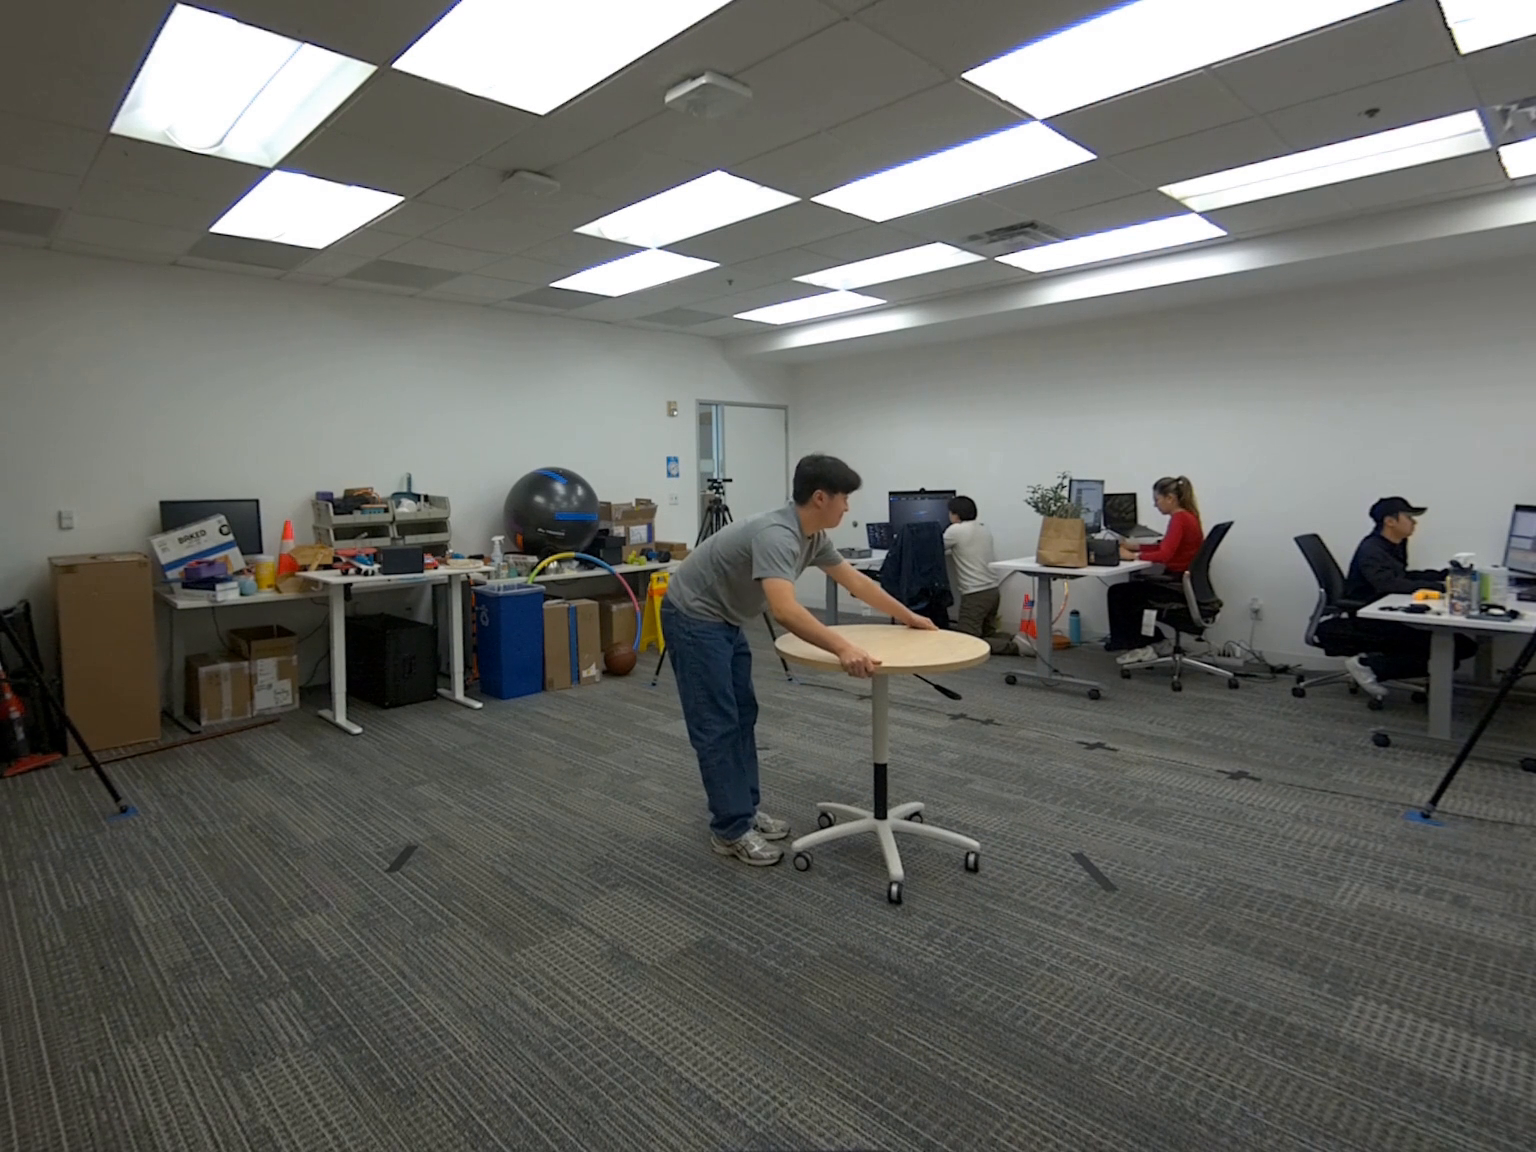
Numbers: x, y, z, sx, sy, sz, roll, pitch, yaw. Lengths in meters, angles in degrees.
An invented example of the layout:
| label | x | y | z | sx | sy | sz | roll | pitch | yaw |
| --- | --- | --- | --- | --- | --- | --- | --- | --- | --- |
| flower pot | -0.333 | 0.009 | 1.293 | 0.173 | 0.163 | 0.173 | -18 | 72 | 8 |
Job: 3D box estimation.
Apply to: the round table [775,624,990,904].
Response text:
| label | x | y | z | sx | sy | sz | roll | pitch | yaw |
| --- | --- | --- | --- | --- | --- | --- | --- | --- | --- |
| round table | 0.420 | 0.642 | 3.121 | 0.763 | 0.791 | 0.768 | -1 | 5 | -2 |
